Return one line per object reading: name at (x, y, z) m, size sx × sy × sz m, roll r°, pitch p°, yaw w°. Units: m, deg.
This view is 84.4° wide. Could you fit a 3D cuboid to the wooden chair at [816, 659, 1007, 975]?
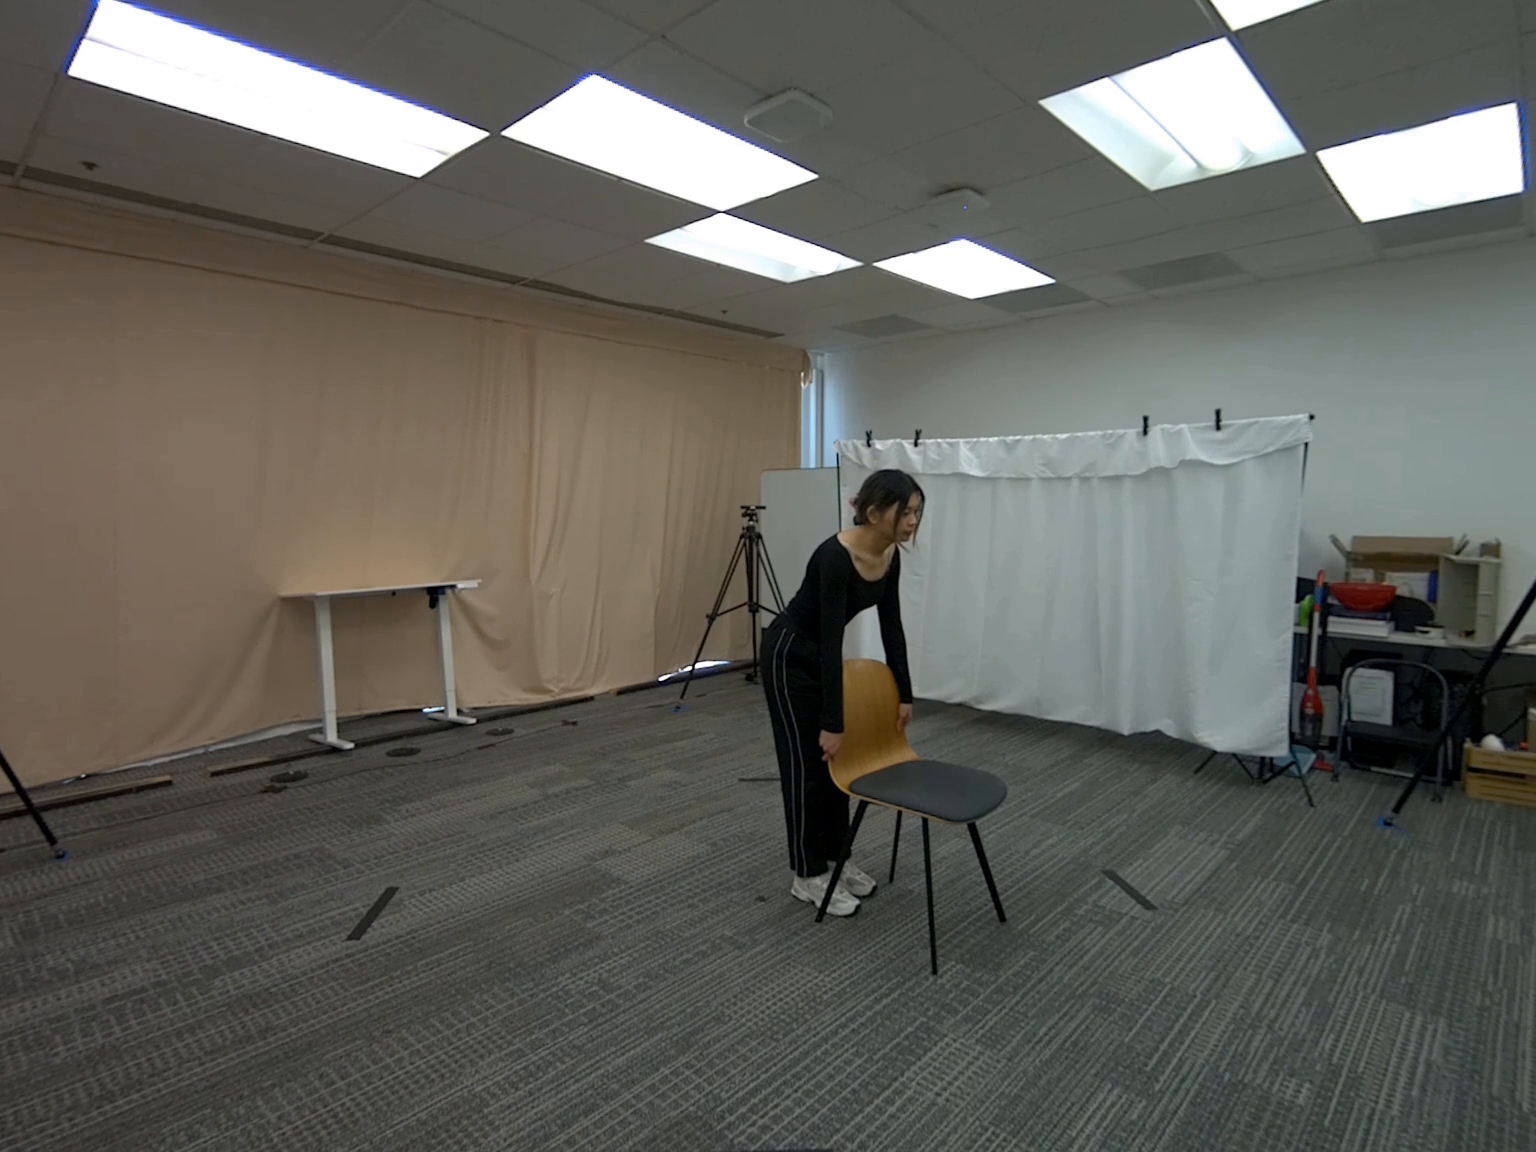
wooden chair at (0.491, 0.731, 2.775) m, size 0.539 × 0.878 × 0.463 m, roll -4°, pitch 0°, yaw 43°
